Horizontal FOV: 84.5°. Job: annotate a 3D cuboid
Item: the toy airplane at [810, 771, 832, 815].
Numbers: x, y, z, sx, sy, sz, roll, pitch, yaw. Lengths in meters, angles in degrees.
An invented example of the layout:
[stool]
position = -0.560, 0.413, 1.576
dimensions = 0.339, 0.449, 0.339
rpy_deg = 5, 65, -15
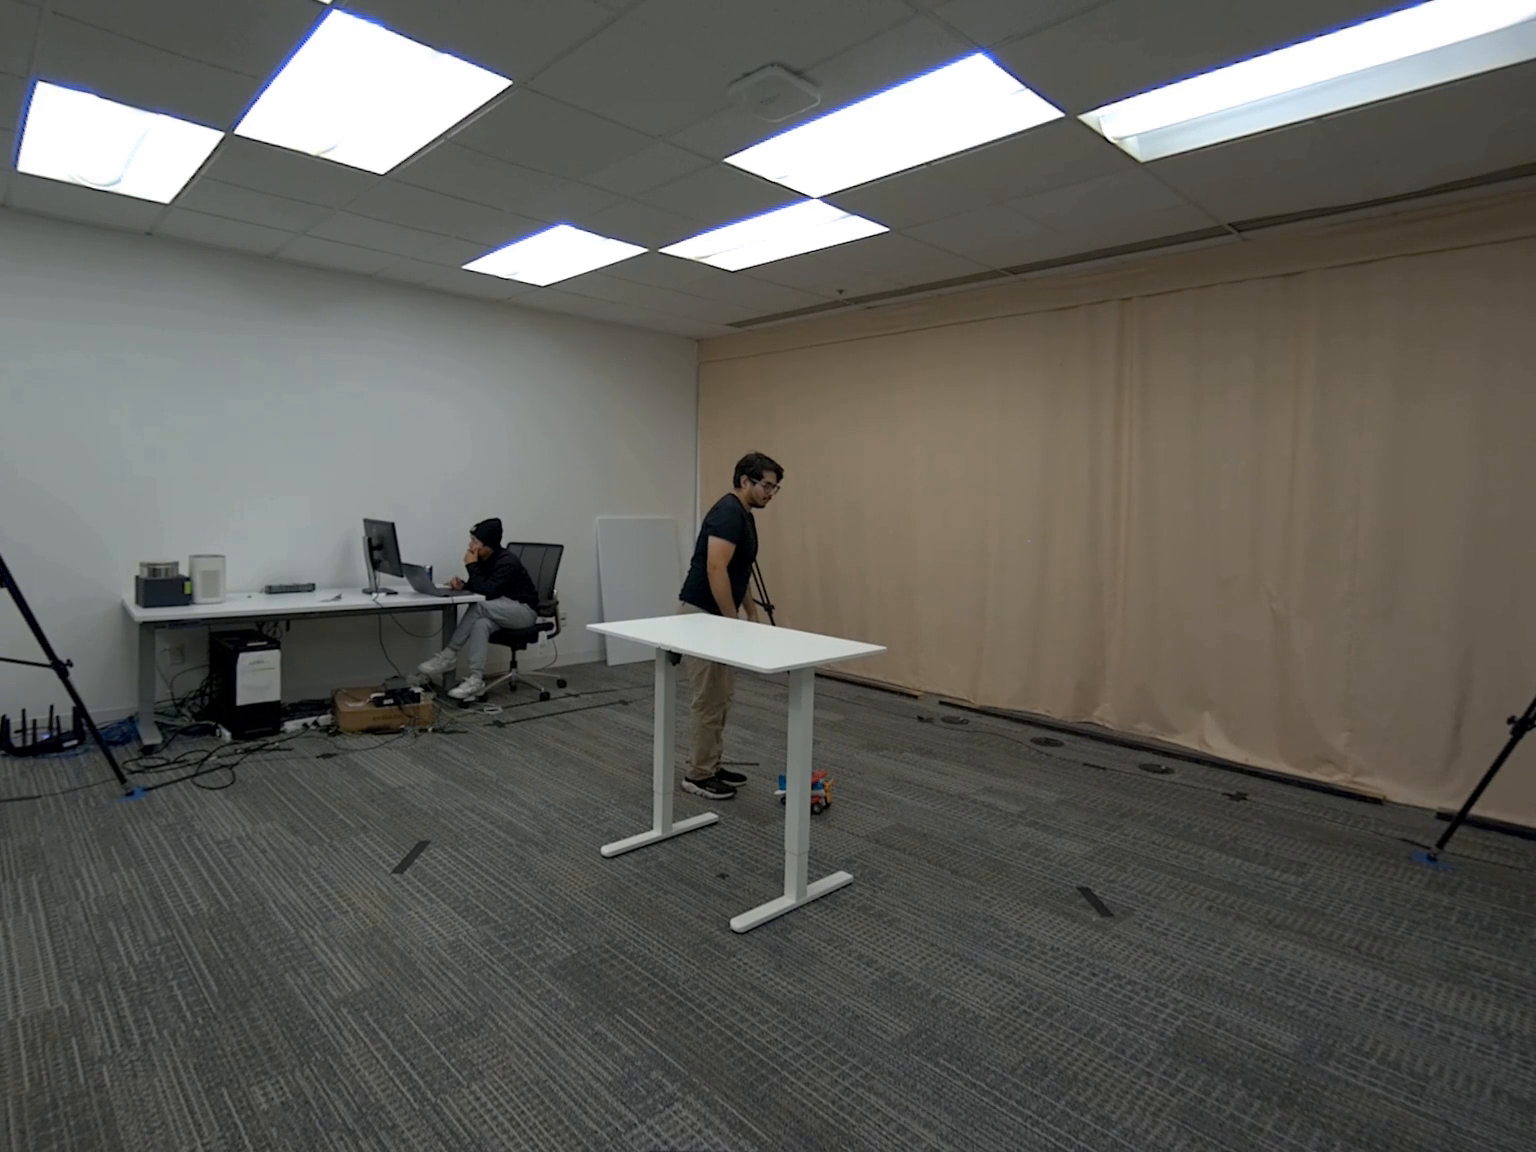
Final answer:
[toy airplane]
position = 0.152, 0.979, 3.808
dimensions = 0.259, 0.156, 0.251
rpy_deg = 3, 4, 1
